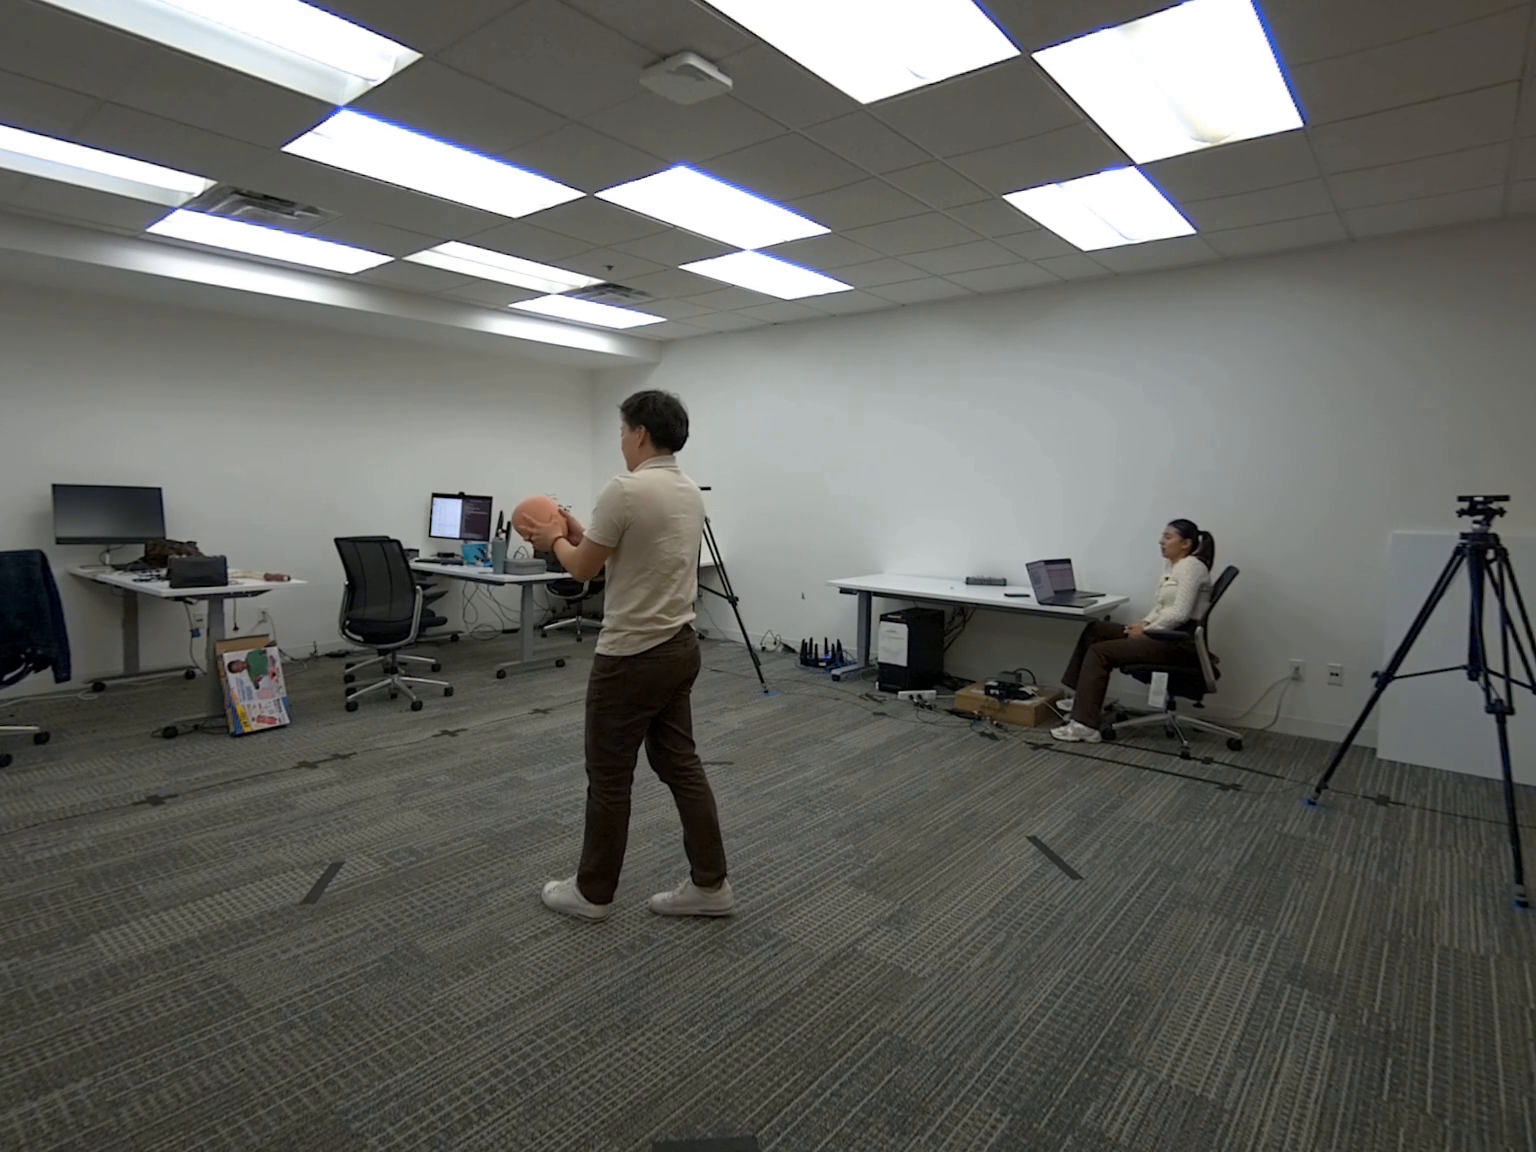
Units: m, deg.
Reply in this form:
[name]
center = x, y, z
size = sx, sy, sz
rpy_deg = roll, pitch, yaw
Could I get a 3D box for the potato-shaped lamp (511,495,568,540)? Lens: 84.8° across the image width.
[potato-shaped lamp]
center = -0.791, -0.179, 2.939
size = 0.162, 0.203, 0.170
rpy_deg = -23, -23, -38
